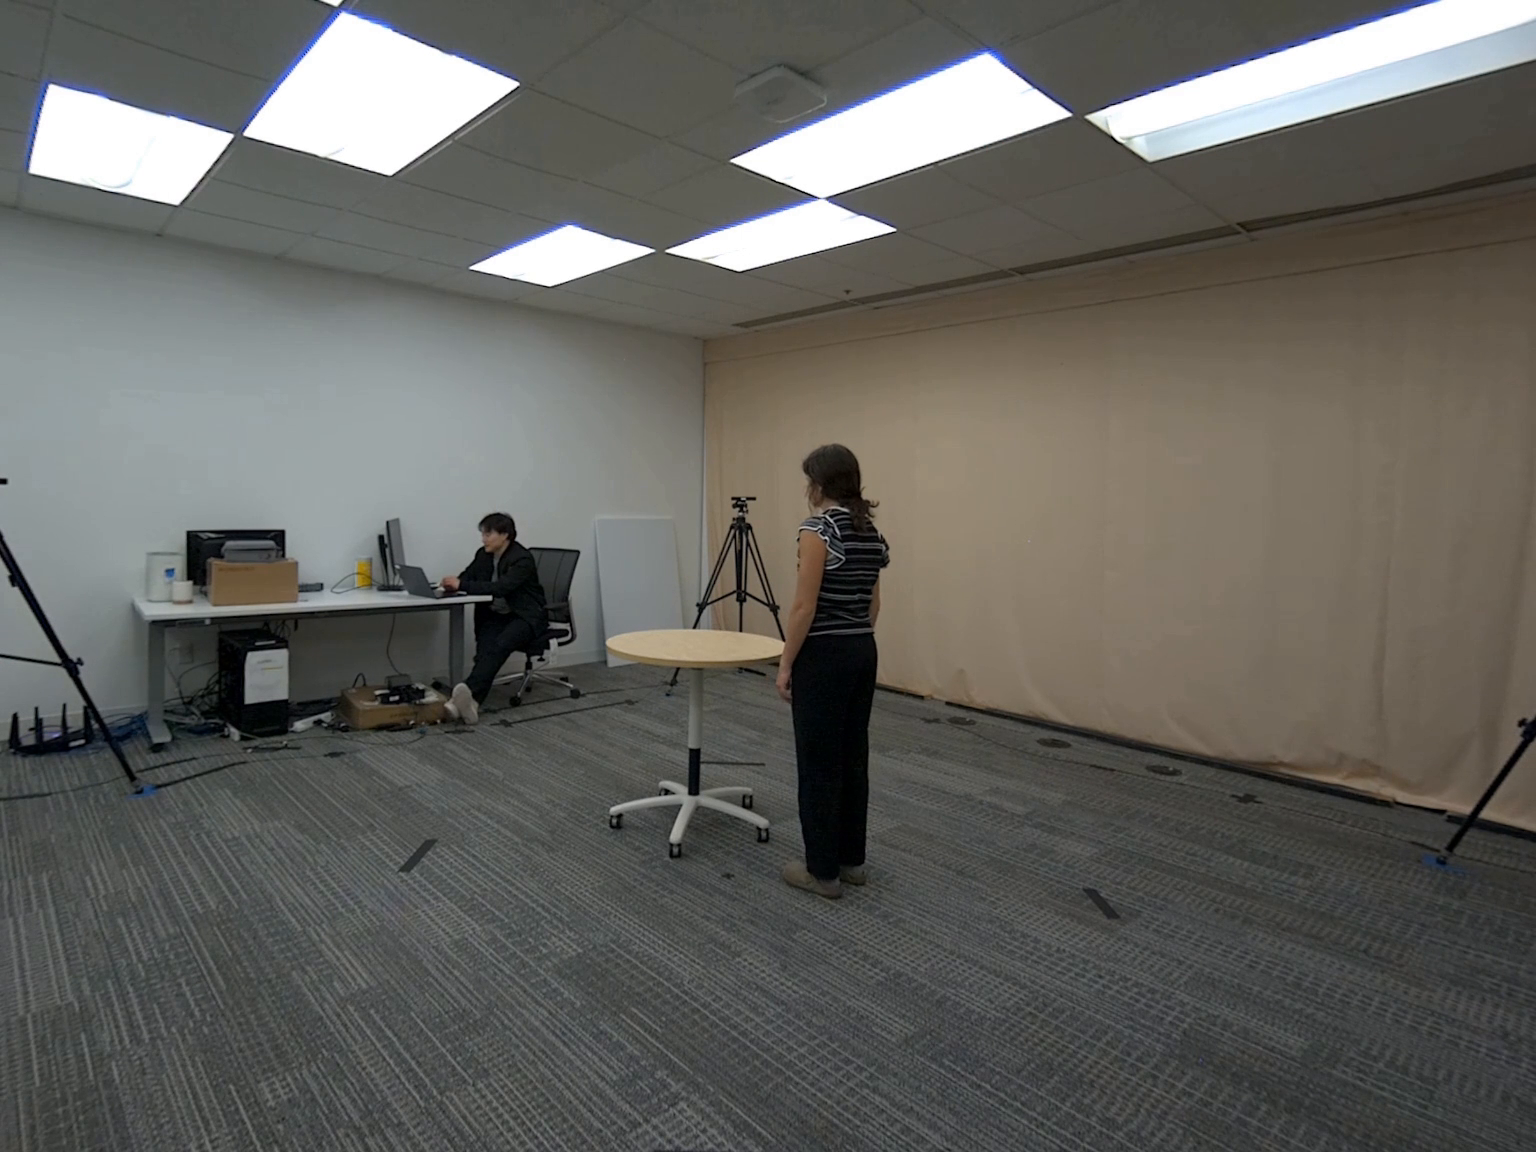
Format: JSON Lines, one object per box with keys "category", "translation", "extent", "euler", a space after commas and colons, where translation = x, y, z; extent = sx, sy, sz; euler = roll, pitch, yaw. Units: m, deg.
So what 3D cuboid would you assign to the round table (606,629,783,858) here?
{"category": "round table", "translation": [-0.319, 0.677, 3.550], "extent": [0.763, 0.792, 0.766], "euler": [2, 4, -1]}
